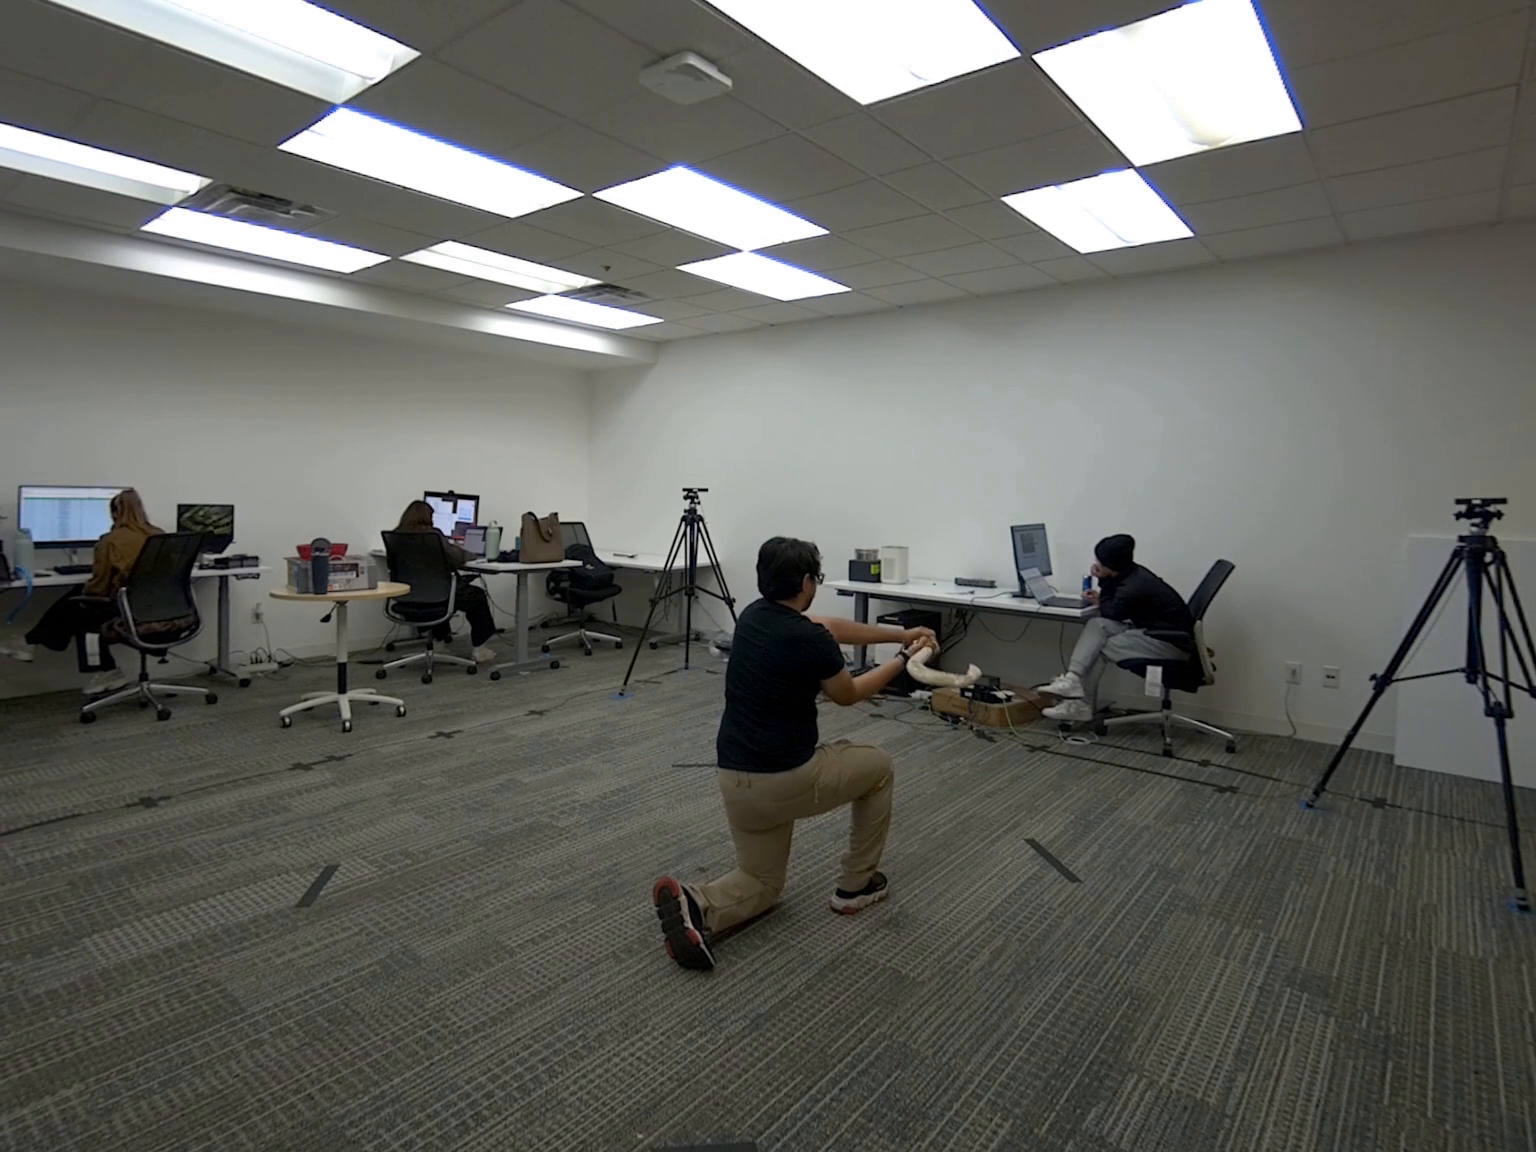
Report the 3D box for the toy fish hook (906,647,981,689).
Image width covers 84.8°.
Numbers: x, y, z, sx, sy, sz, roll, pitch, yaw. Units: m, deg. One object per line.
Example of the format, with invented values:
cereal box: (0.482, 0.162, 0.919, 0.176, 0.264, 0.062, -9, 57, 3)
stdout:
toy fish hook: (0.572, 0.270, 2.836, 0.227, 0.048, 0.506, 9, 14, 8)
